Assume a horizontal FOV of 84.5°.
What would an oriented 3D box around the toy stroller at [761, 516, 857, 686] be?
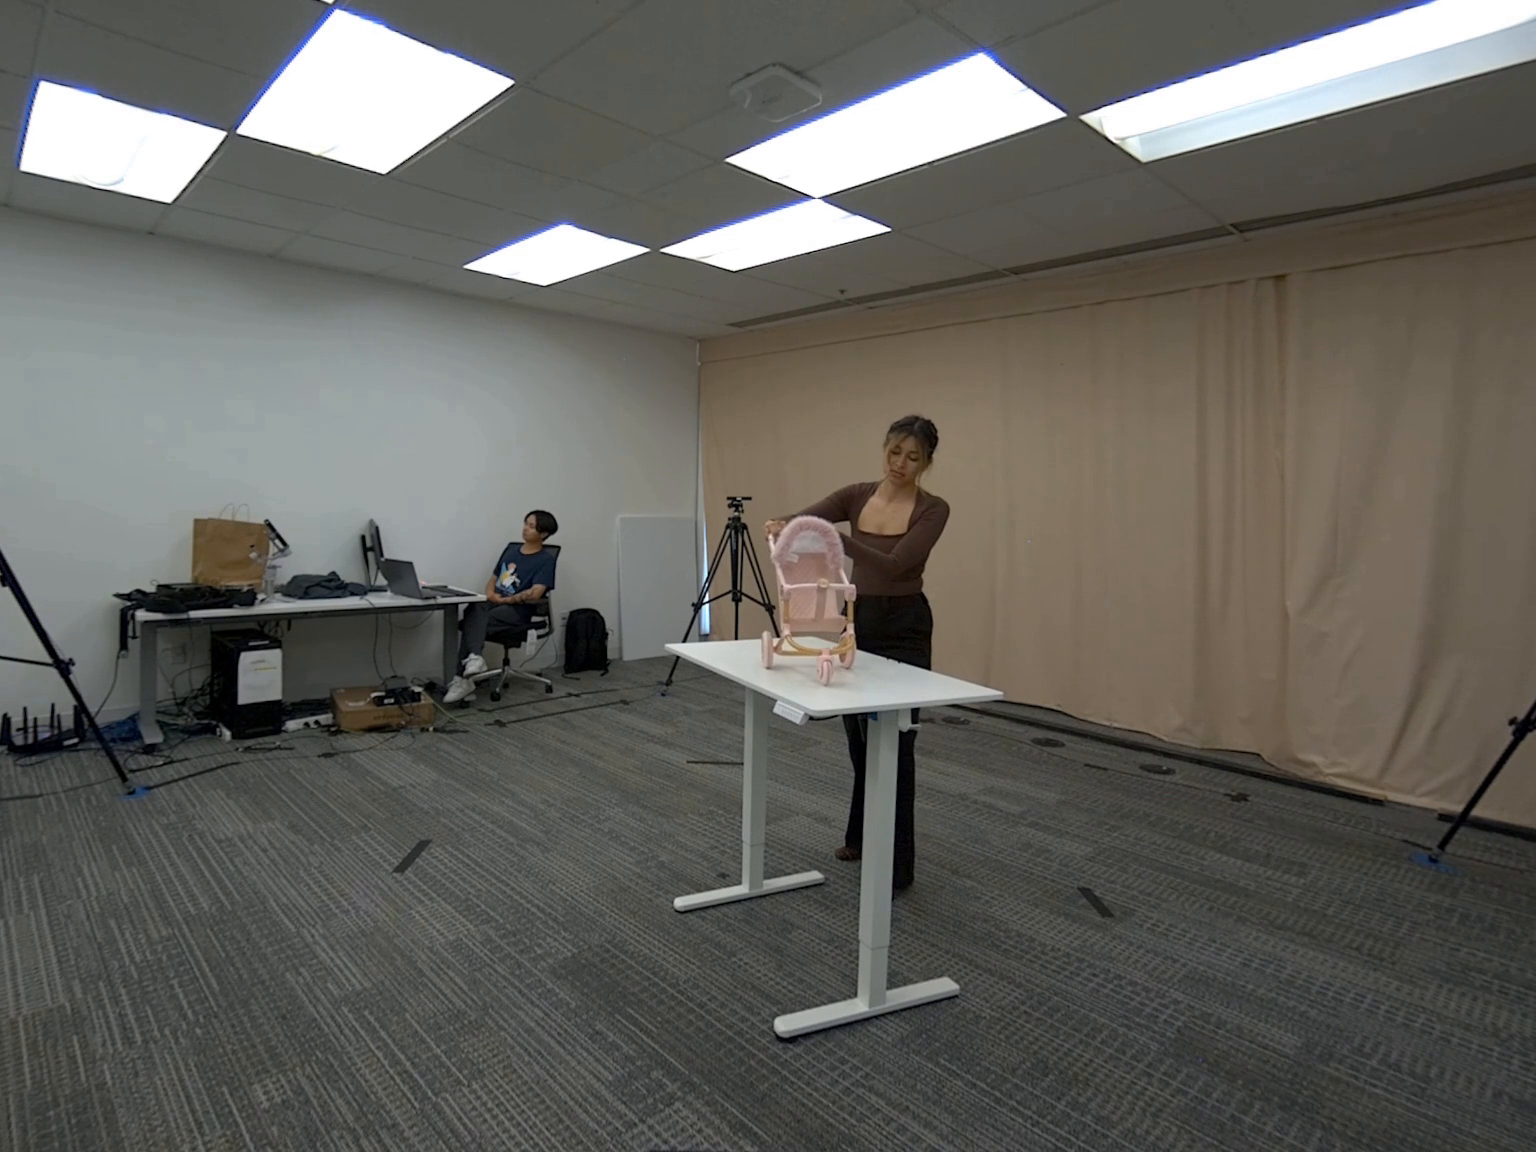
[{"bbox_3d":[0.124,0.067,2.479,0.280,0.540,0.339,0,-13,-5],"label":"toy stroller"}]
